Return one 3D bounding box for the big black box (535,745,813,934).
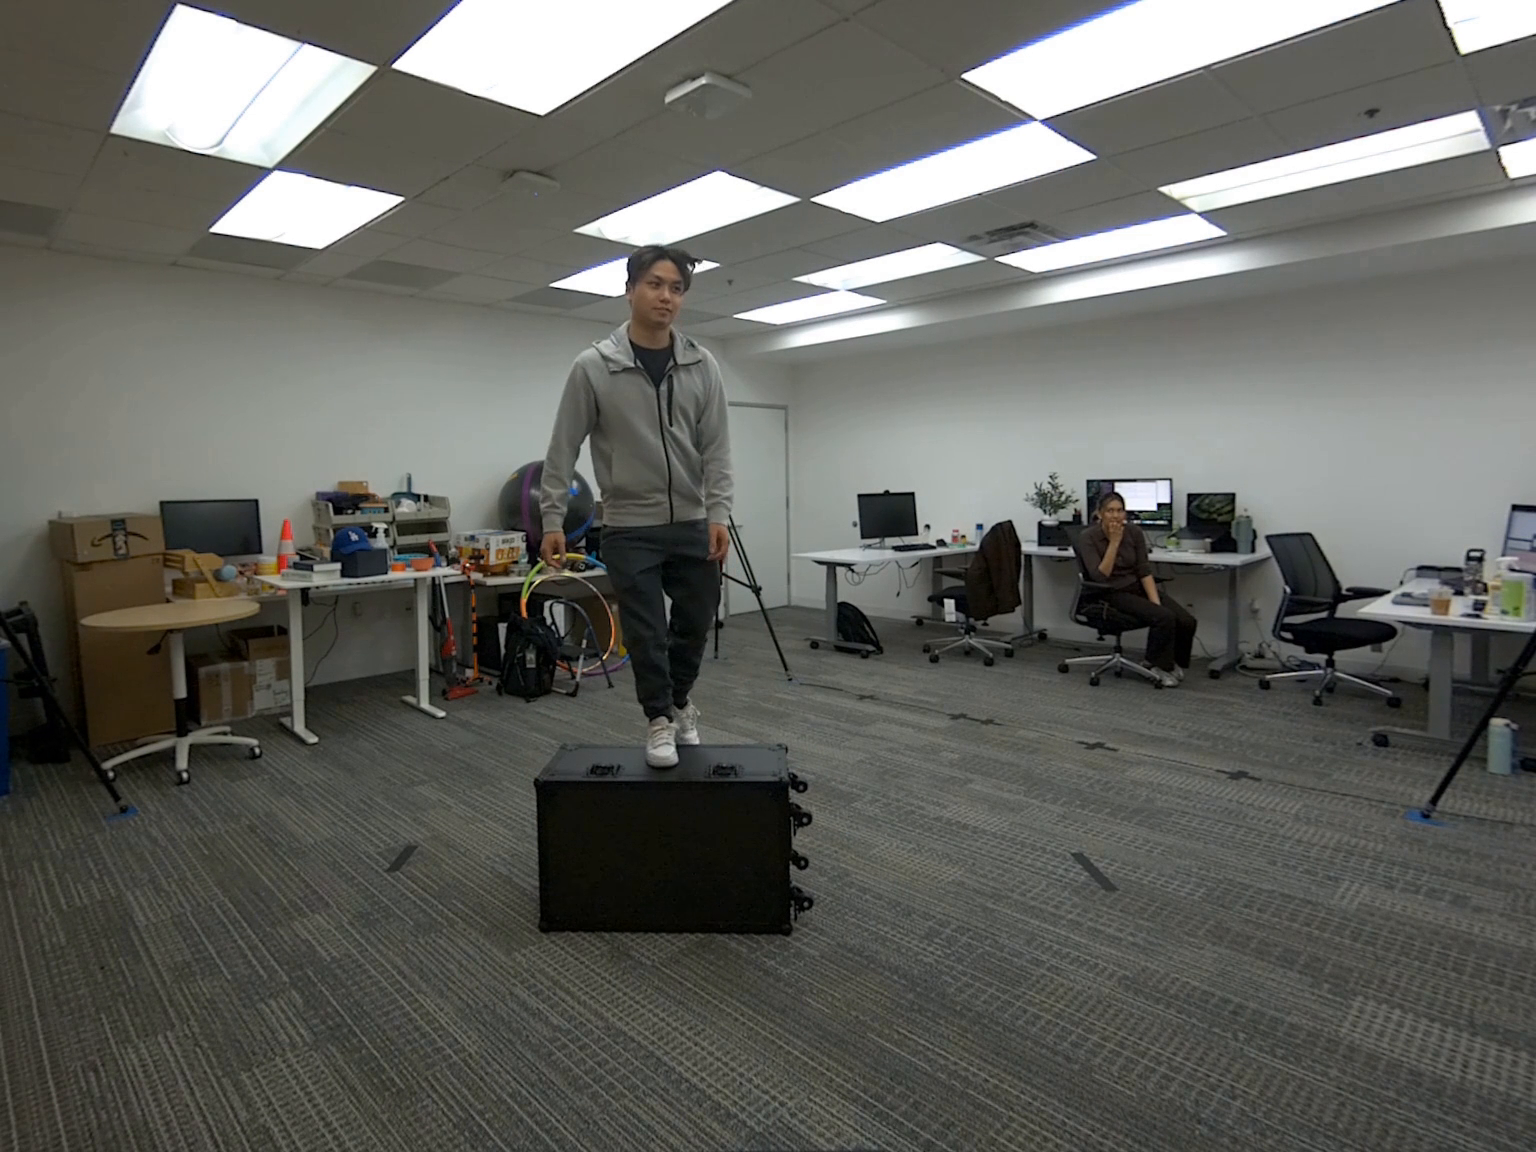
[{"bbox_3d":[-0.290,0.843,2.805,0.865,0.519,0.396,-1,5,3],"label":"big black box"}]
